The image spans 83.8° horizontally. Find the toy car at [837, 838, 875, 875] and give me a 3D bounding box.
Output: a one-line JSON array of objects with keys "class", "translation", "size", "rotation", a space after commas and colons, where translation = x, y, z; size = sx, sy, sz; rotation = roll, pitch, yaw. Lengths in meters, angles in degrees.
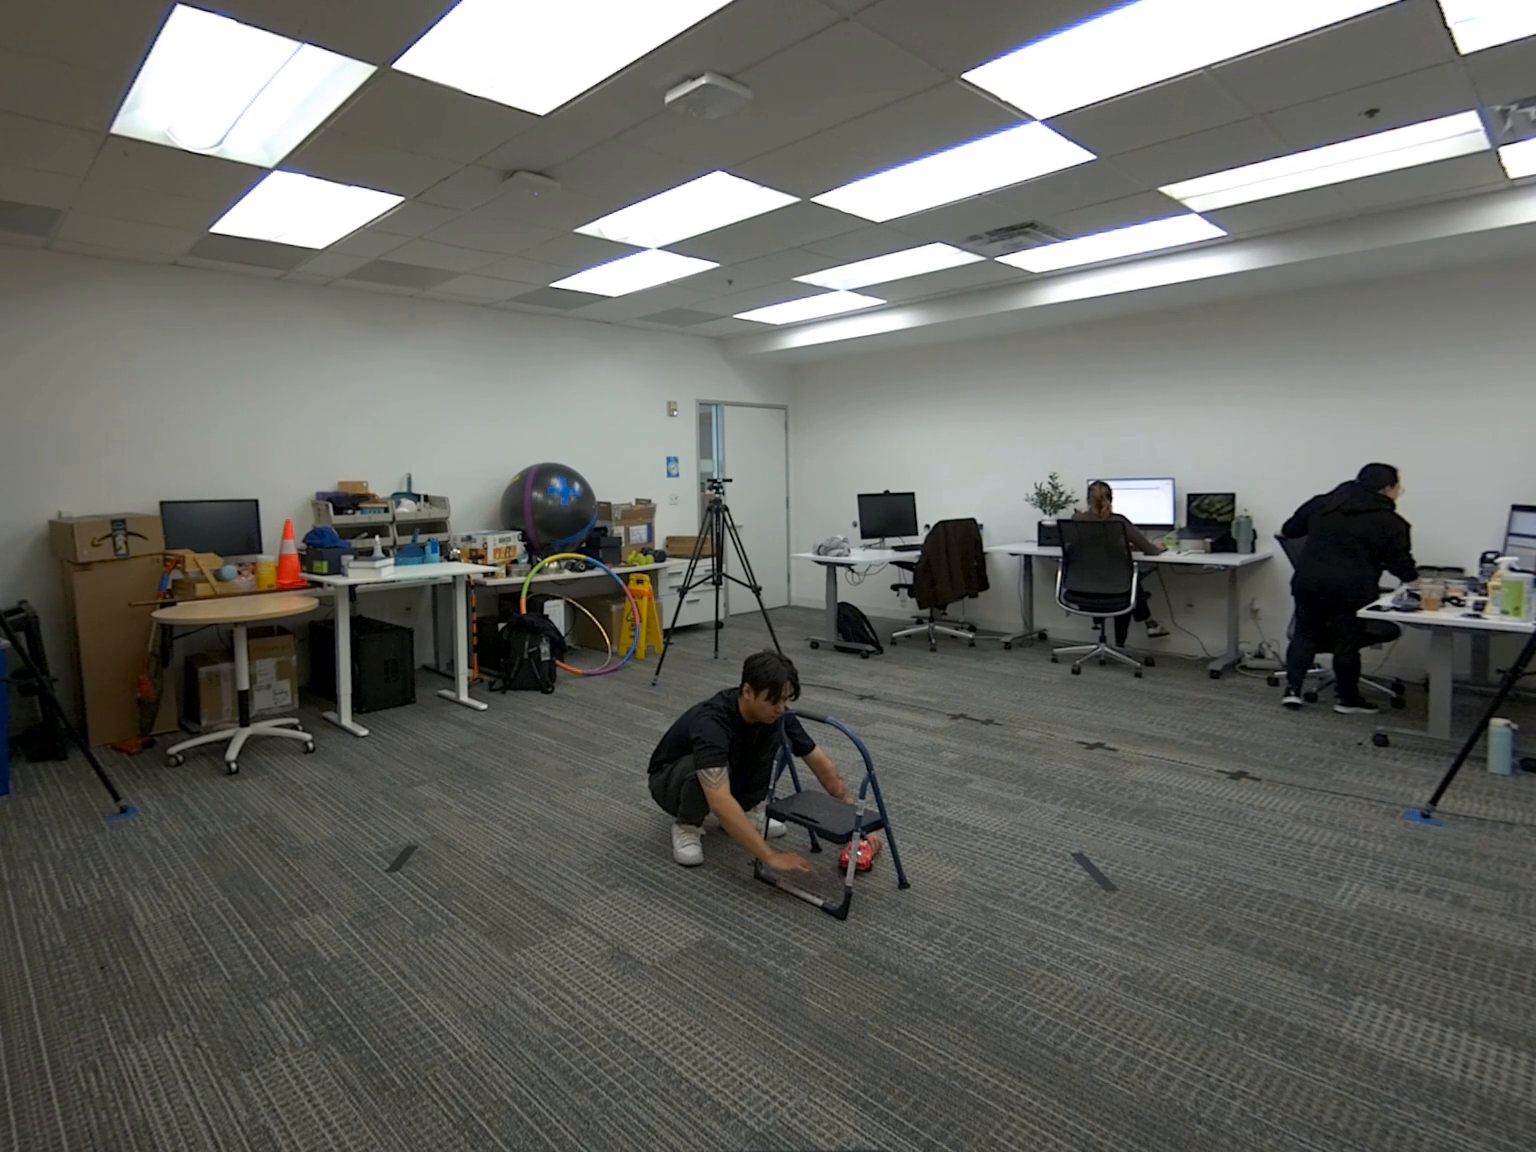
[{"class": "toy car", "translation": [0.324, 1.007, 3.092], "size": [0.133, 0.084, 0.248], "rotation": [2, -6, 18]}]
